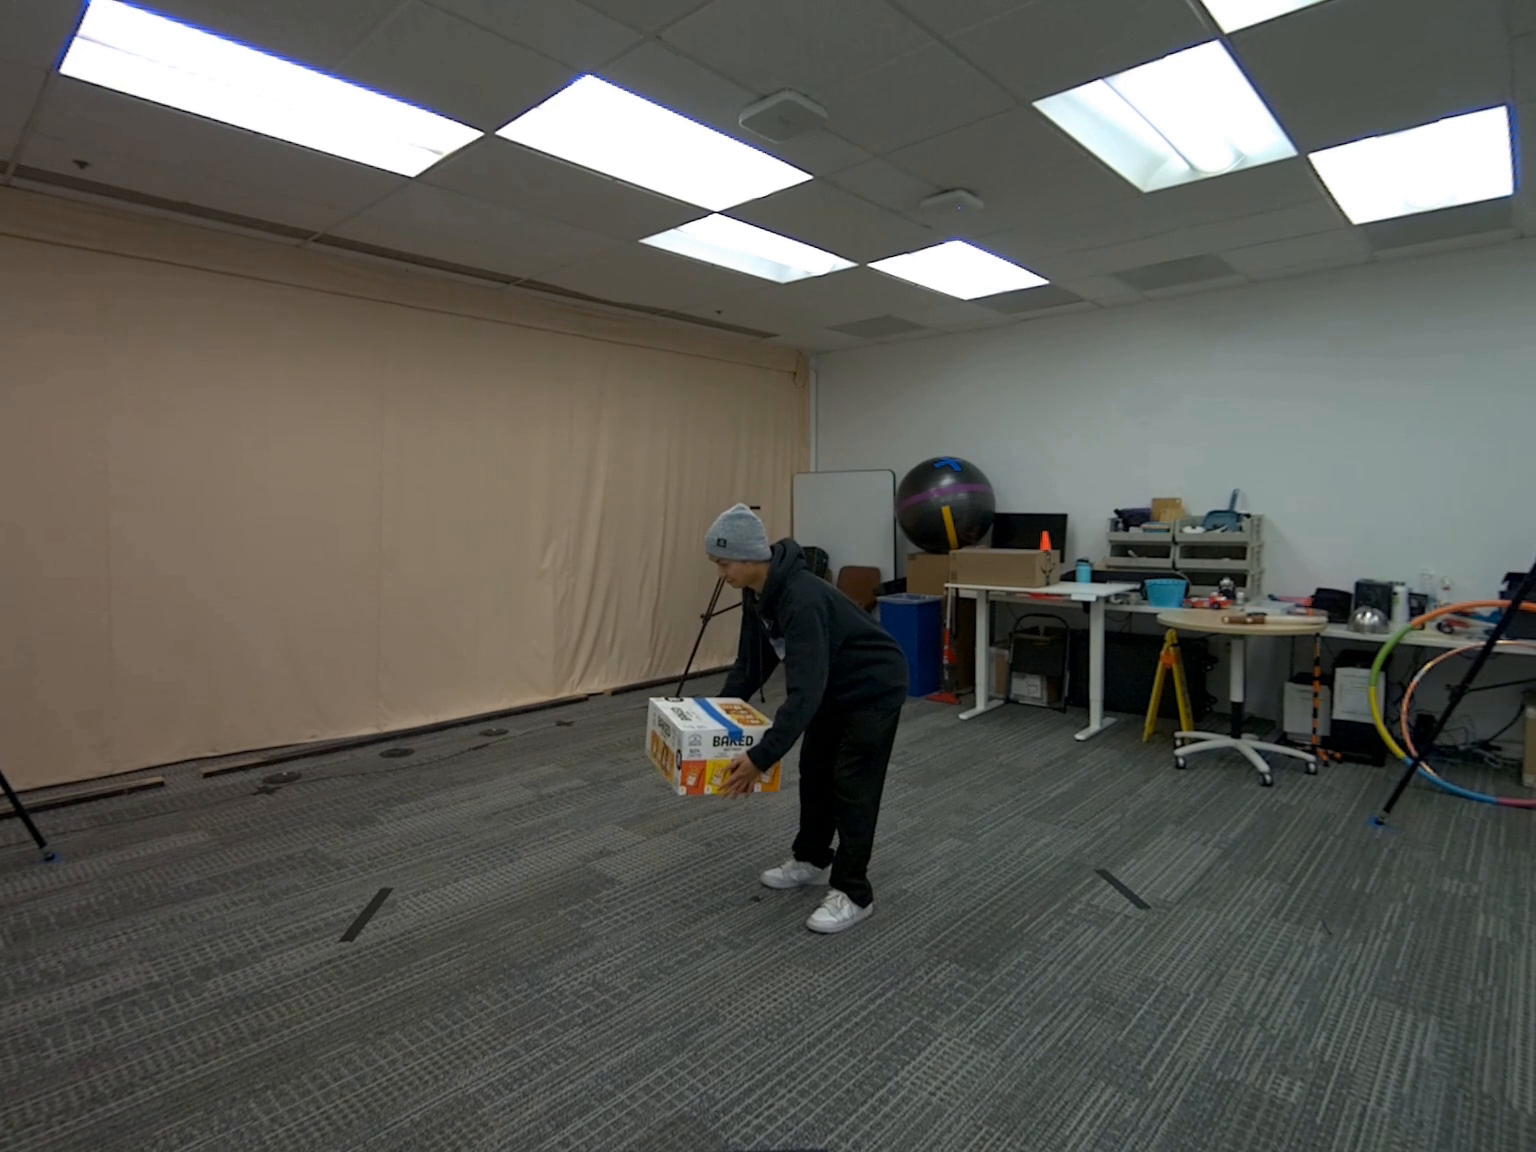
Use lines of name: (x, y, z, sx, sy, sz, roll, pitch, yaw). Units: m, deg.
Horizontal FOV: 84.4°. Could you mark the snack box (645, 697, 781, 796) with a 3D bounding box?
snack box: (-0.189, 0.559, 2.819, 0.333, 0.205, 0.415, 4, 5, -22)
